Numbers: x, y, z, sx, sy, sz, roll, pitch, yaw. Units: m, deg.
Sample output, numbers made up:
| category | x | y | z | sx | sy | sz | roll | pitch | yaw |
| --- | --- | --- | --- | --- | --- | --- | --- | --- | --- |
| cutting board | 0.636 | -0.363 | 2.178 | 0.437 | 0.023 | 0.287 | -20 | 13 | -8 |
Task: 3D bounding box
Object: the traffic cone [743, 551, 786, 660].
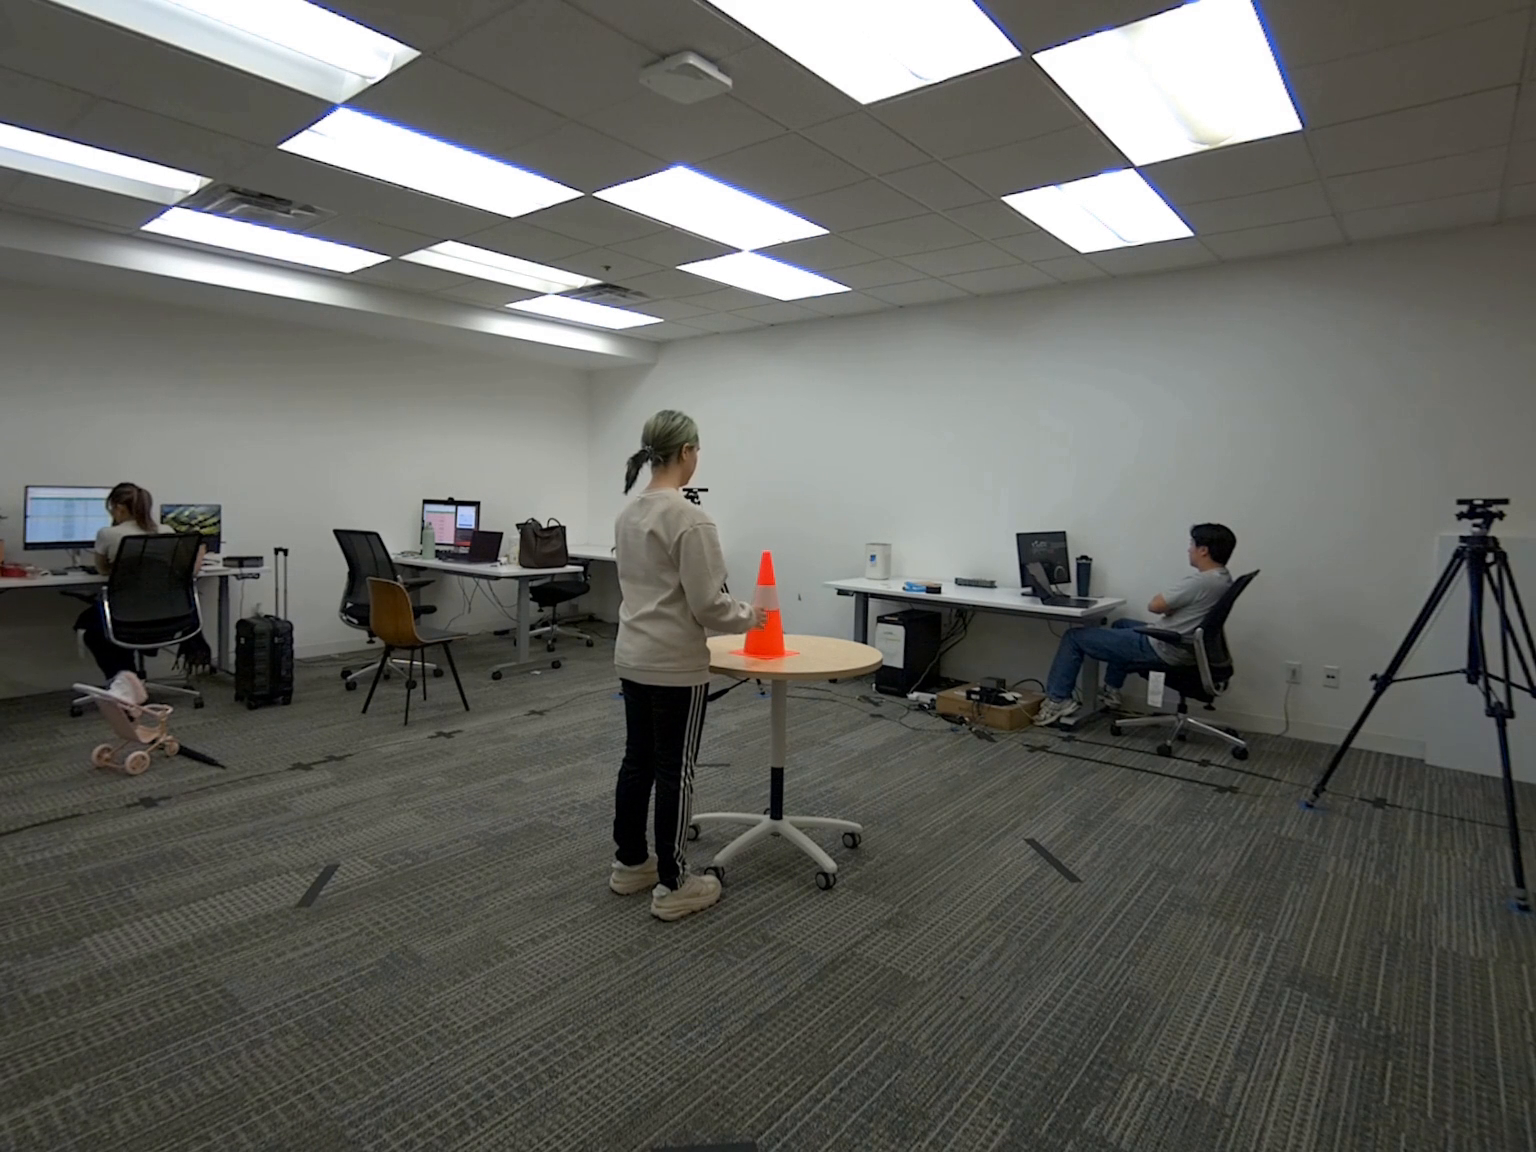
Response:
| category | x | y | z | sx | sy | sz | roll | pitch | yaw |
| --- | --- | --- | --- | --- | --- | --- | --- | --- | --- |
| traffic cone | -0.018 | 0.098 | 3.163 | 0.212 | 0.382 | 0.197 | 4 | 5 | 36 |
